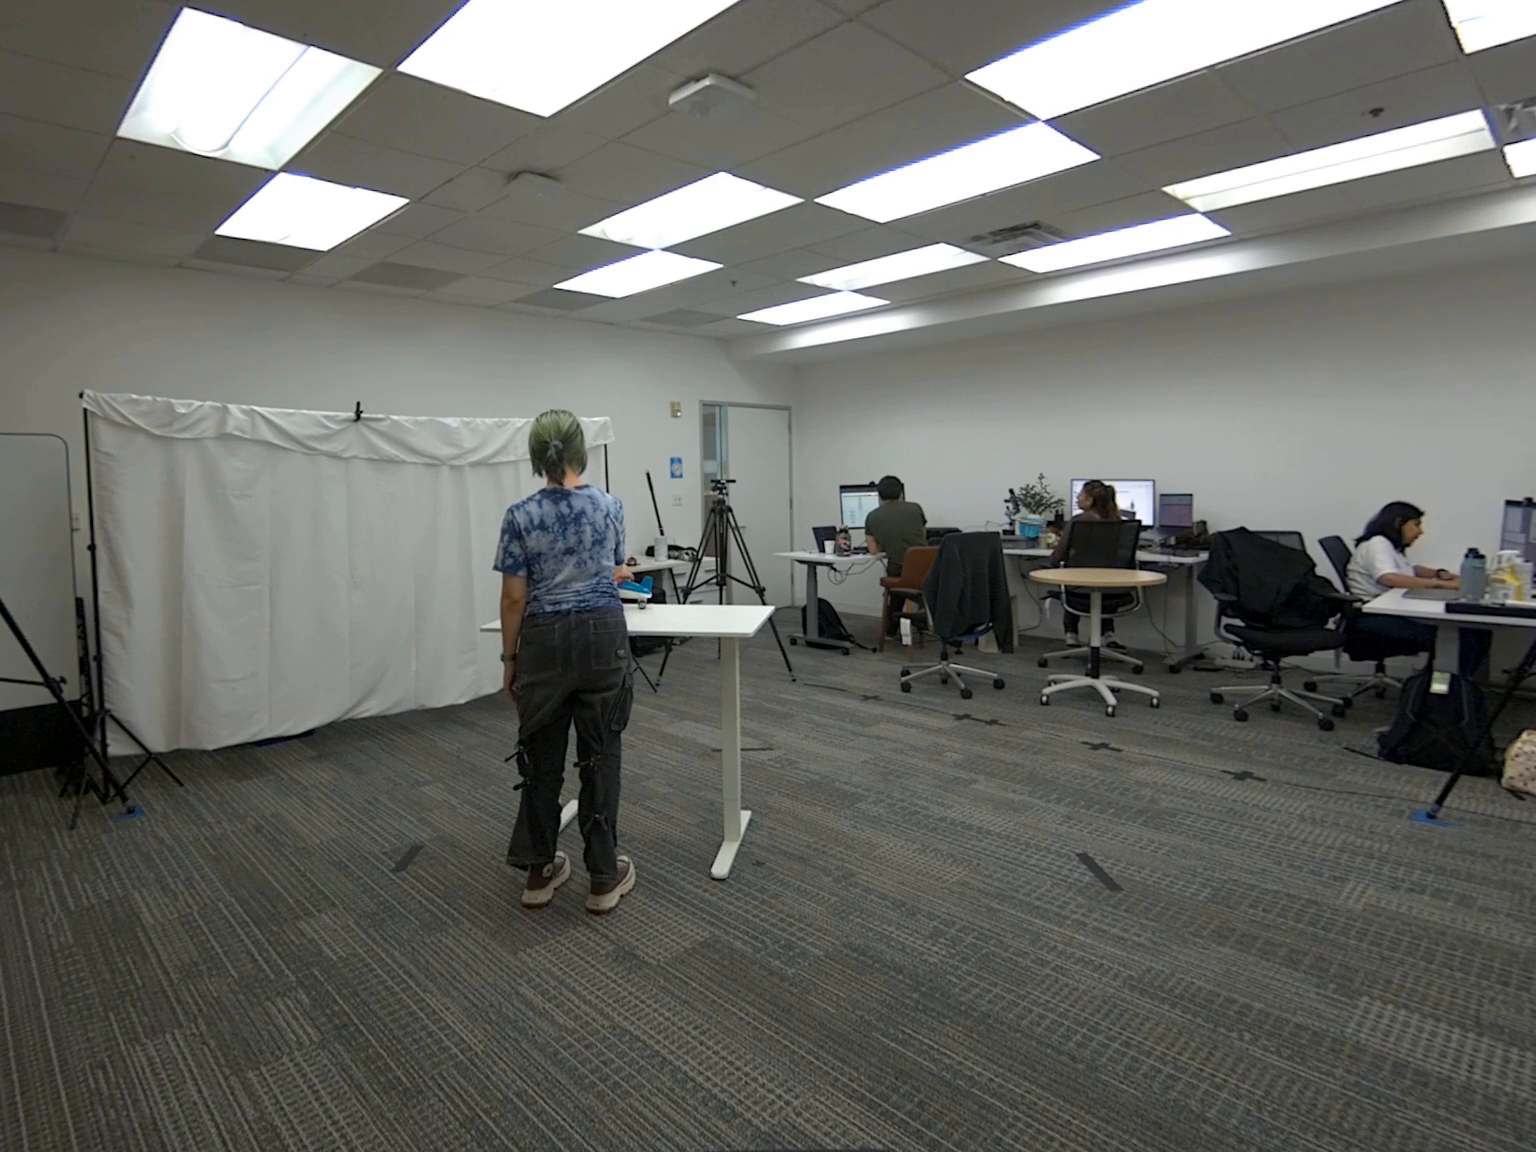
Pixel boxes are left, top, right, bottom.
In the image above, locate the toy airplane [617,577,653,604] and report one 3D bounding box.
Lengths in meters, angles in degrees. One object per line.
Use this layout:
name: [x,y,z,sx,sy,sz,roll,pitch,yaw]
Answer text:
toy airplane: [-0.605,0.057,3.483,0.253,0.156,0.258,-6,7,-30]
